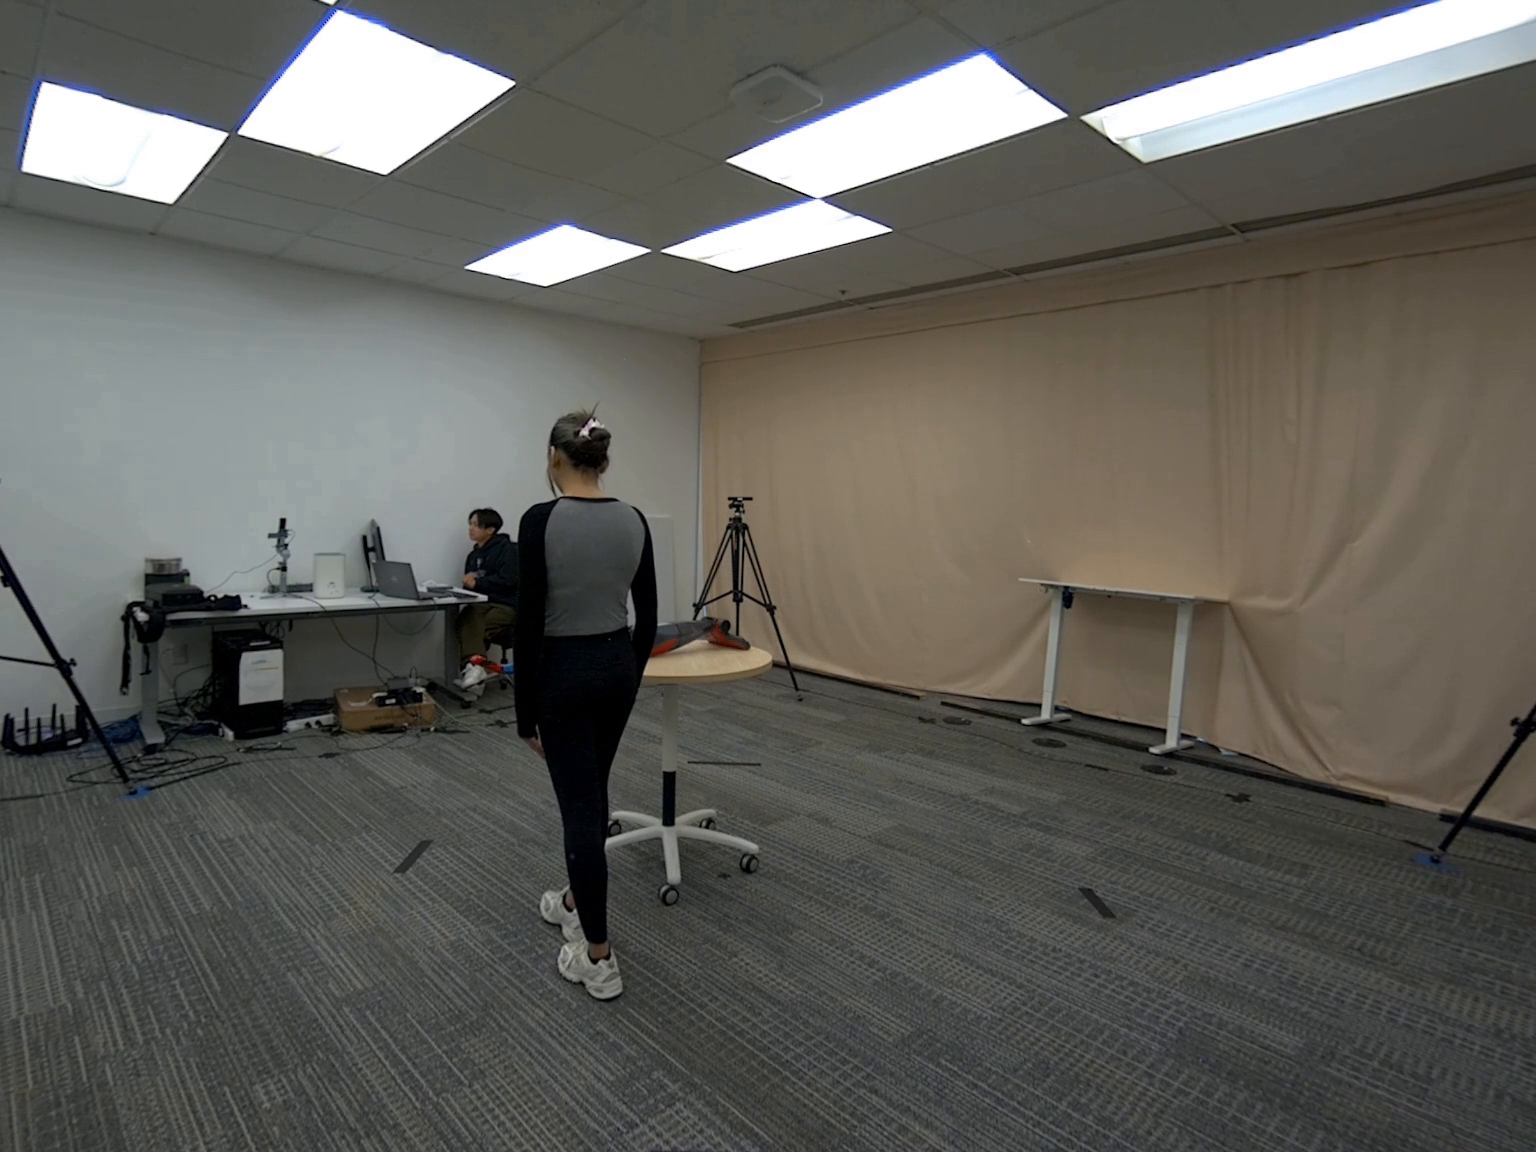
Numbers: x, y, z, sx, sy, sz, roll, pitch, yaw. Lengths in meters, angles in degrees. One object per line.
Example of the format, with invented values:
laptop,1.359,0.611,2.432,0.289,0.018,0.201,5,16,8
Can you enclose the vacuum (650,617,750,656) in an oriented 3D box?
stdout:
vacuum,-0.572,0.260,3.067,1.026,0.143,0.259,-3,6,-42
